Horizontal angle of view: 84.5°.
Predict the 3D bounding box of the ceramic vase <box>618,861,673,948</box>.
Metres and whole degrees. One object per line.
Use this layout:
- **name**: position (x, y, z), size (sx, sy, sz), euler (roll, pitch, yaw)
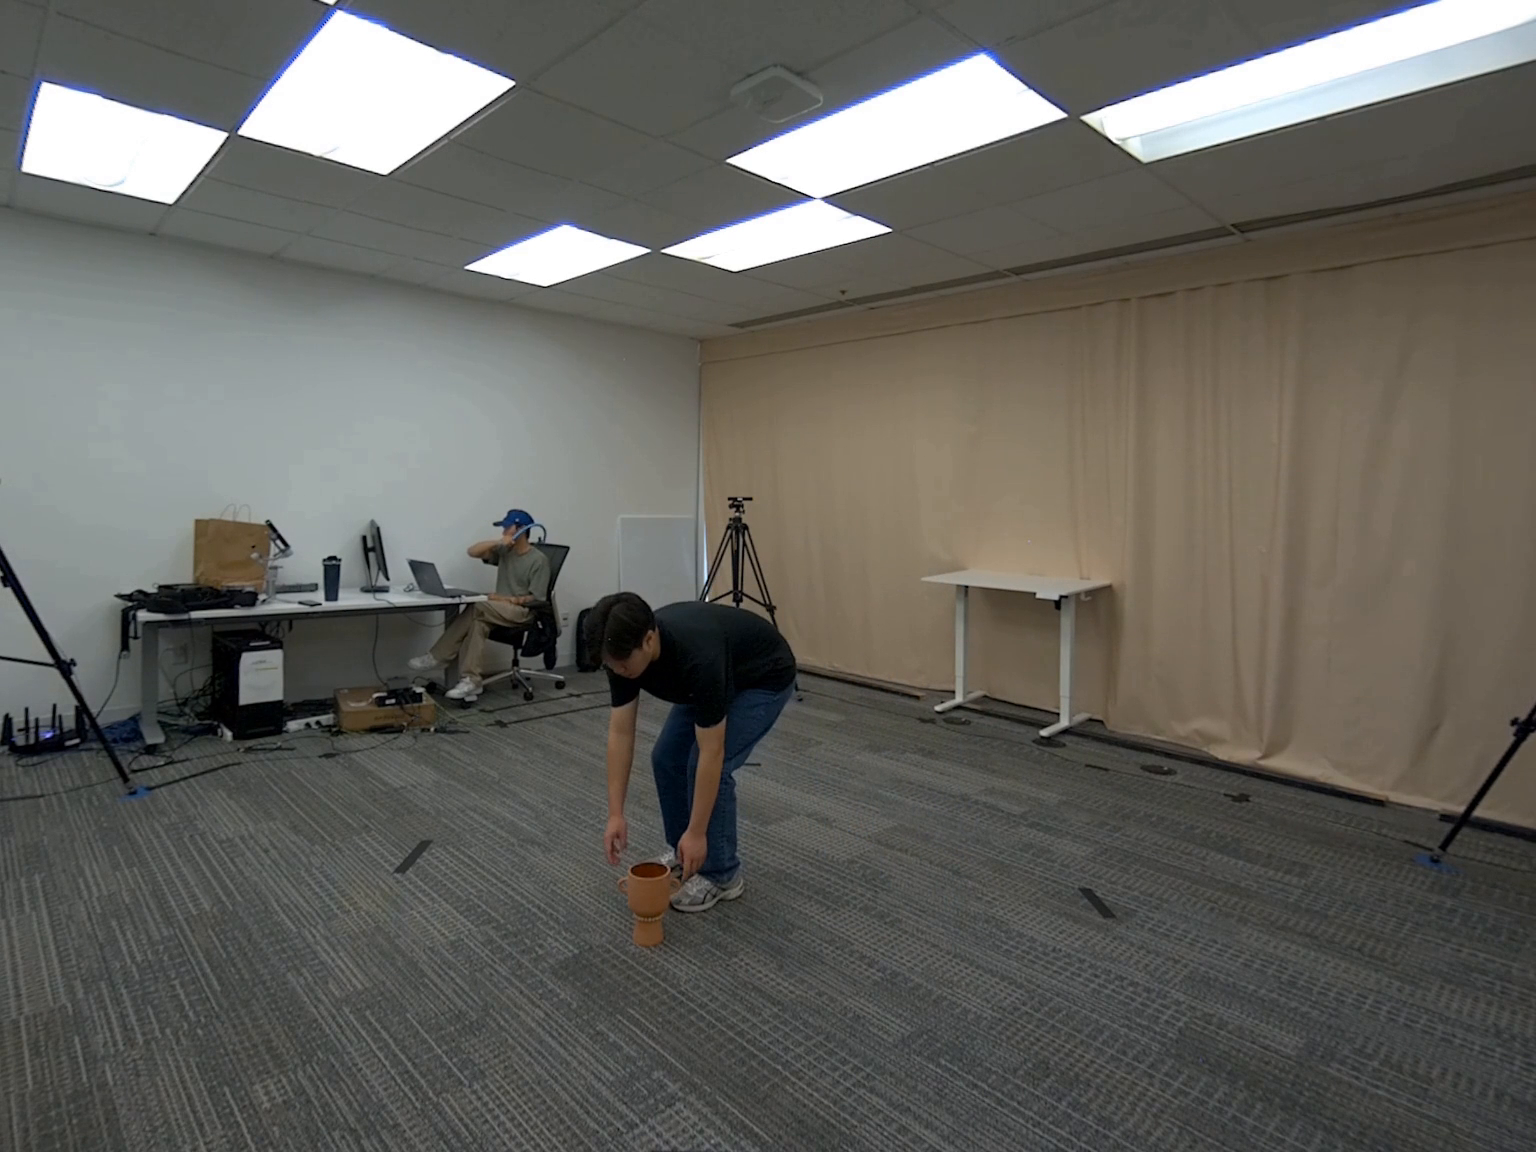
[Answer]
- **ceramic vase**: position (-0.385, 1.035, 2.644), size (0.163, 0.219, 0.132), euler (4, 4, 36)
